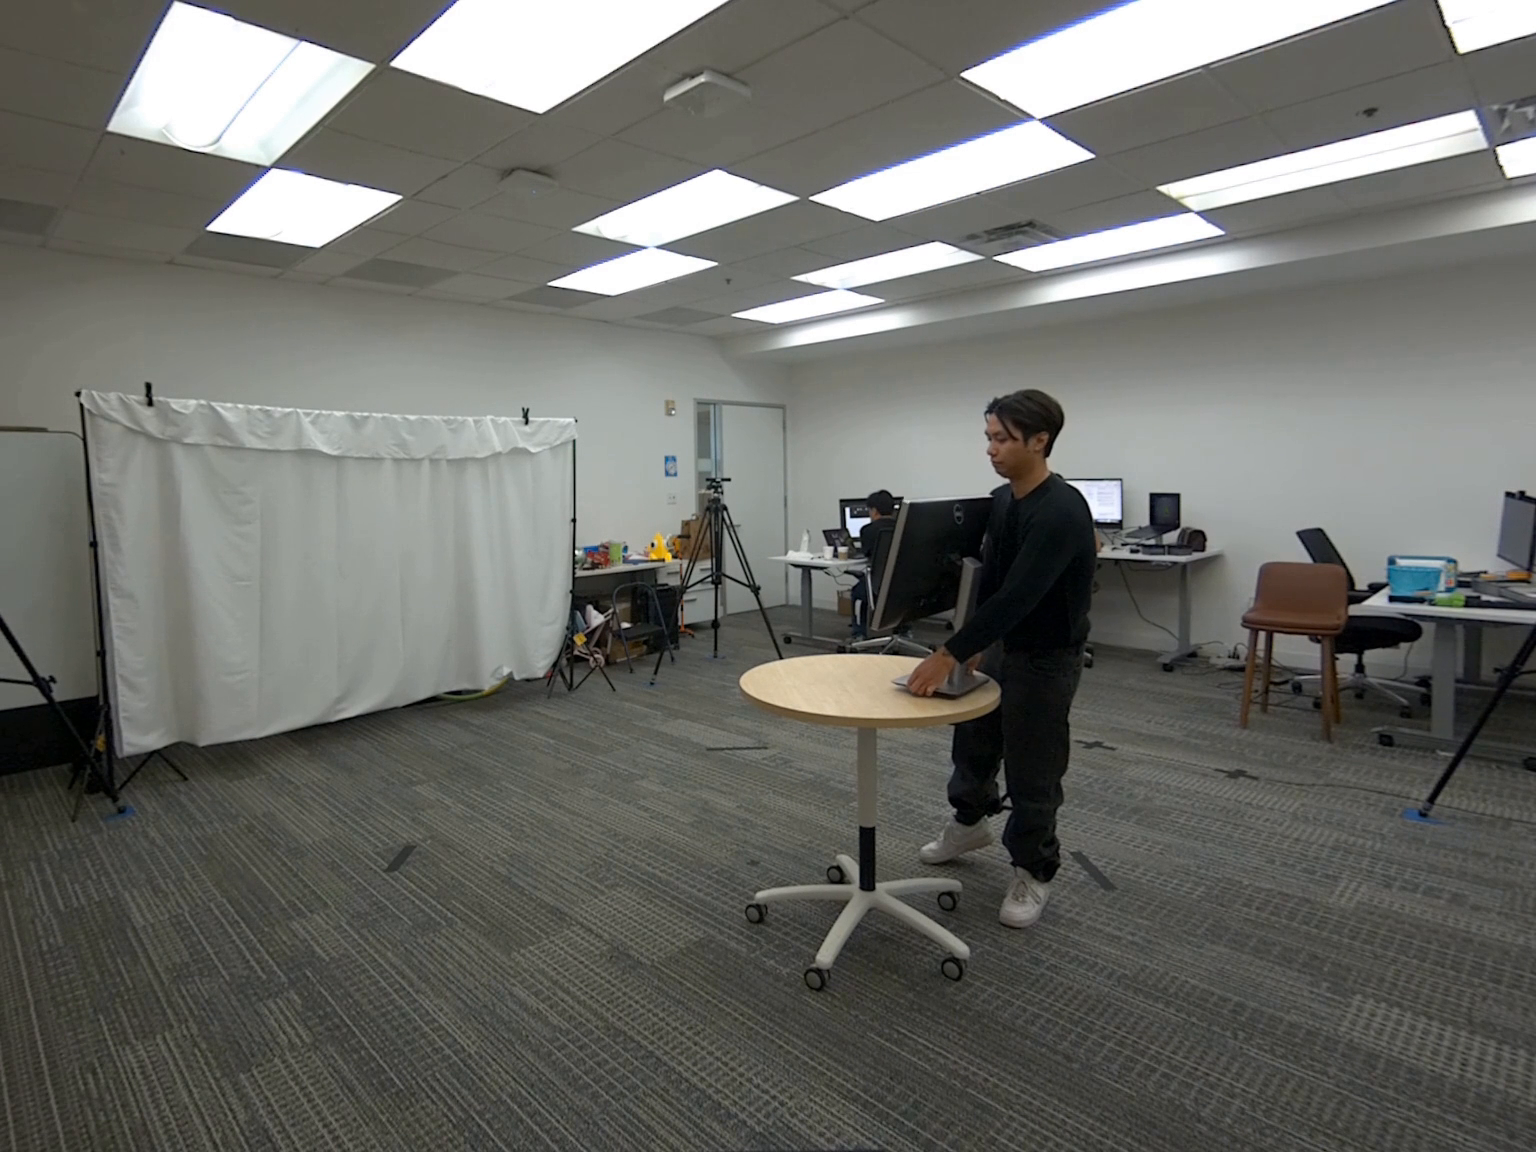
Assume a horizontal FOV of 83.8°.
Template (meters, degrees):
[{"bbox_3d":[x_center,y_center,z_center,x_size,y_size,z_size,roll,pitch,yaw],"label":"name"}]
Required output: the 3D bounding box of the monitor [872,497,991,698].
[{"bbox_3d":[0.514,0.042,2.457,0.193,0.520,0.525,5,7,36],"label":"monitor"}]
